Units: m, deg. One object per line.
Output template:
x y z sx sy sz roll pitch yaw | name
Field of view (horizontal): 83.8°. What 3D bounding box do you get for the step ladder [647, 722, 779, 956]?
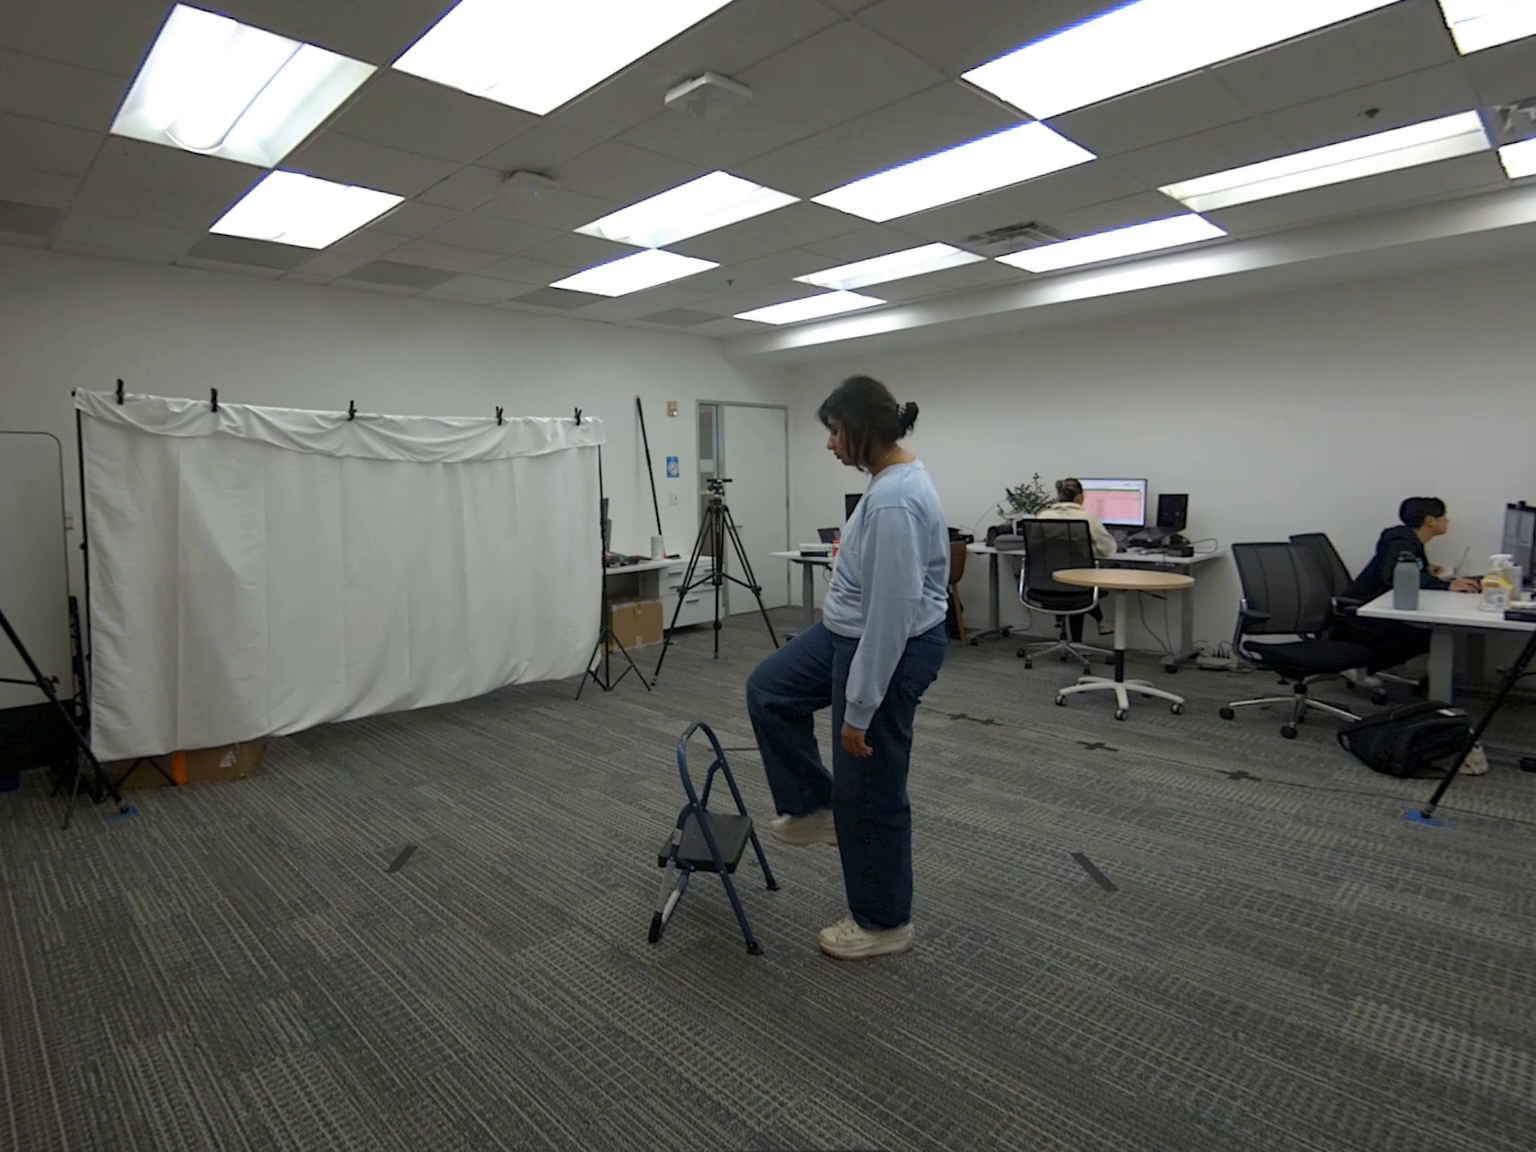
-0.167 0.789 2.733 0.353 0.604 0.428 1 5 10 | step ladder
